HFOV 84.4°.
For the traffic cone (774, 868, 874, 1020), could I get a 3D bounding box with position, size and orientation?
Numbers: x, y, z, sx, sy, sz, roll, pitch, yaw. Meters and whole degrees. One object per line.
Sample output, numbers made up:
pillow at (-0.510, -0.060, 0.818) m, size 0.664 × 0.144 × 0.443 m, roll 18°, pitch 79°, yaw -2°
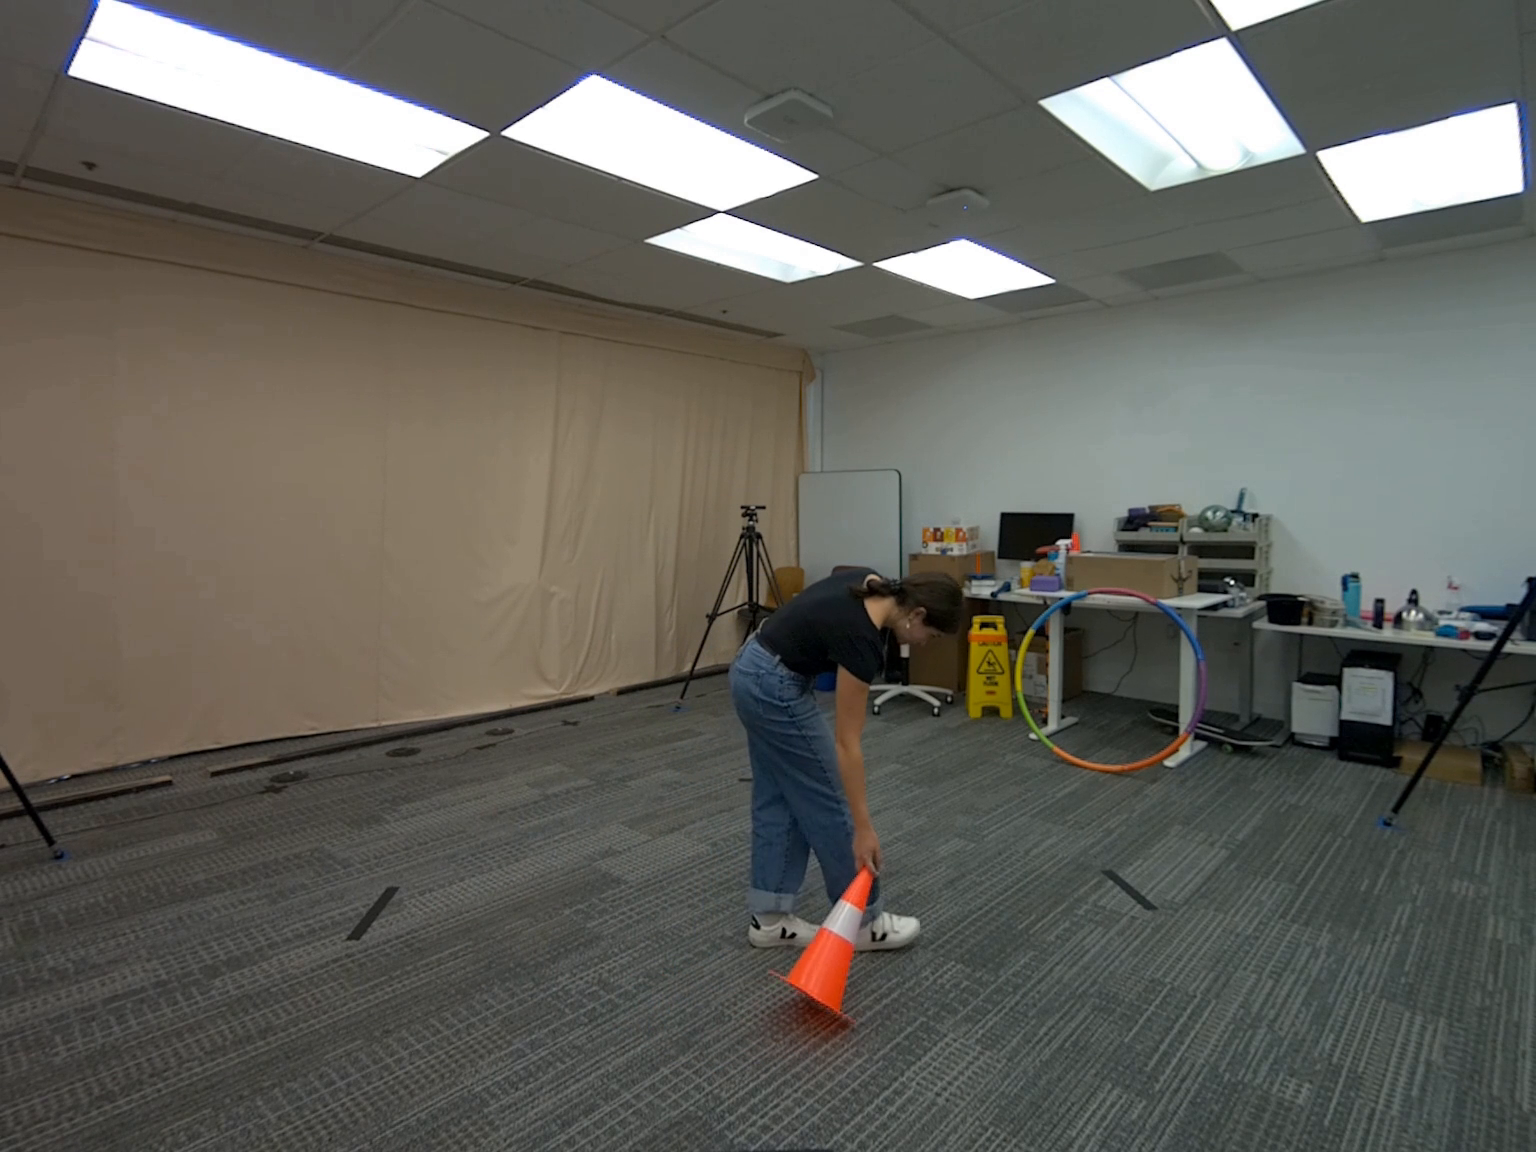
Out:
traffic cone at (0.202, 0.983, 2.343) m, size 0.210 × 0.384 × 0.198 m, roll -1°, pitch -35°, yaw 48°
